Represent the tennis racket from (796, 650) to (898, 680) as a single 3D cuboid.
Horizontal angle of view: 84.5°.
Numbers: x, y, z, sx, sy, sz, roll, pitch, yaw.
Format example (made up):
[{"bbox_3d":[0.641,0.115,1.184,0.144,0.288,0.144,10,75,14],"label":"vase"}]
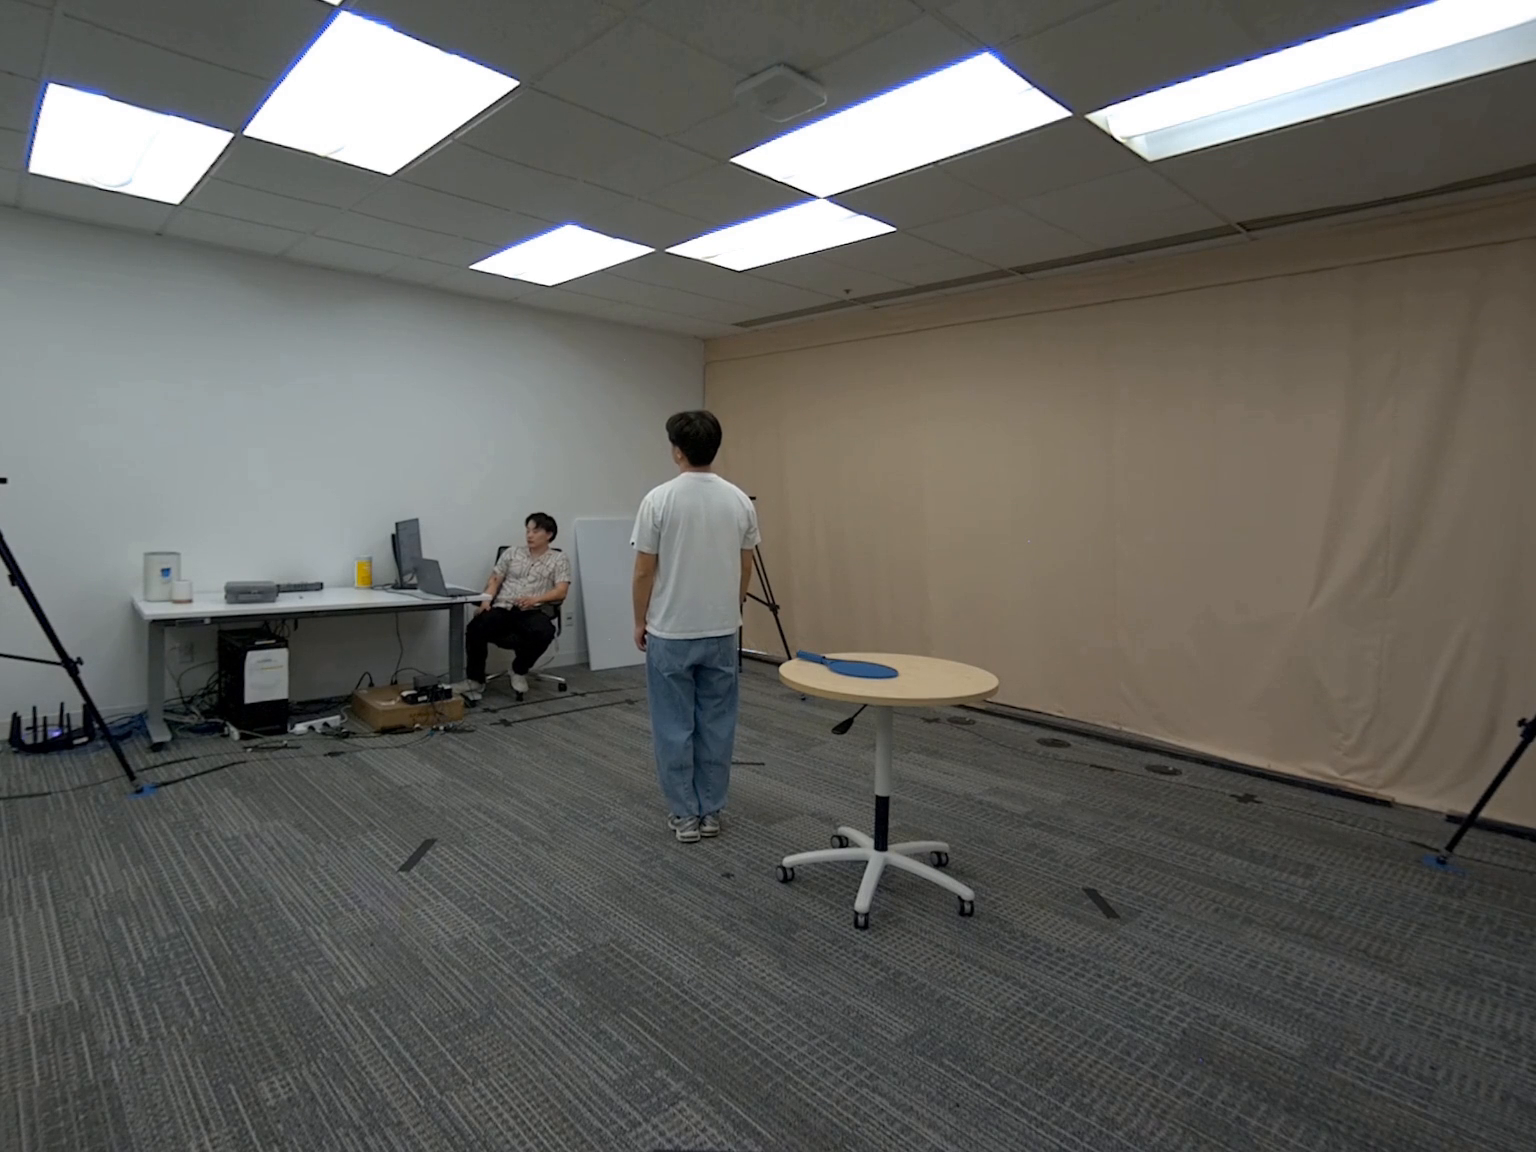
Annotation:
[{"bbox_3d":[0.277,0.327,3.073,0.209,0.031,0.444,-4,9,-44],"label":"tennis racket"}]
